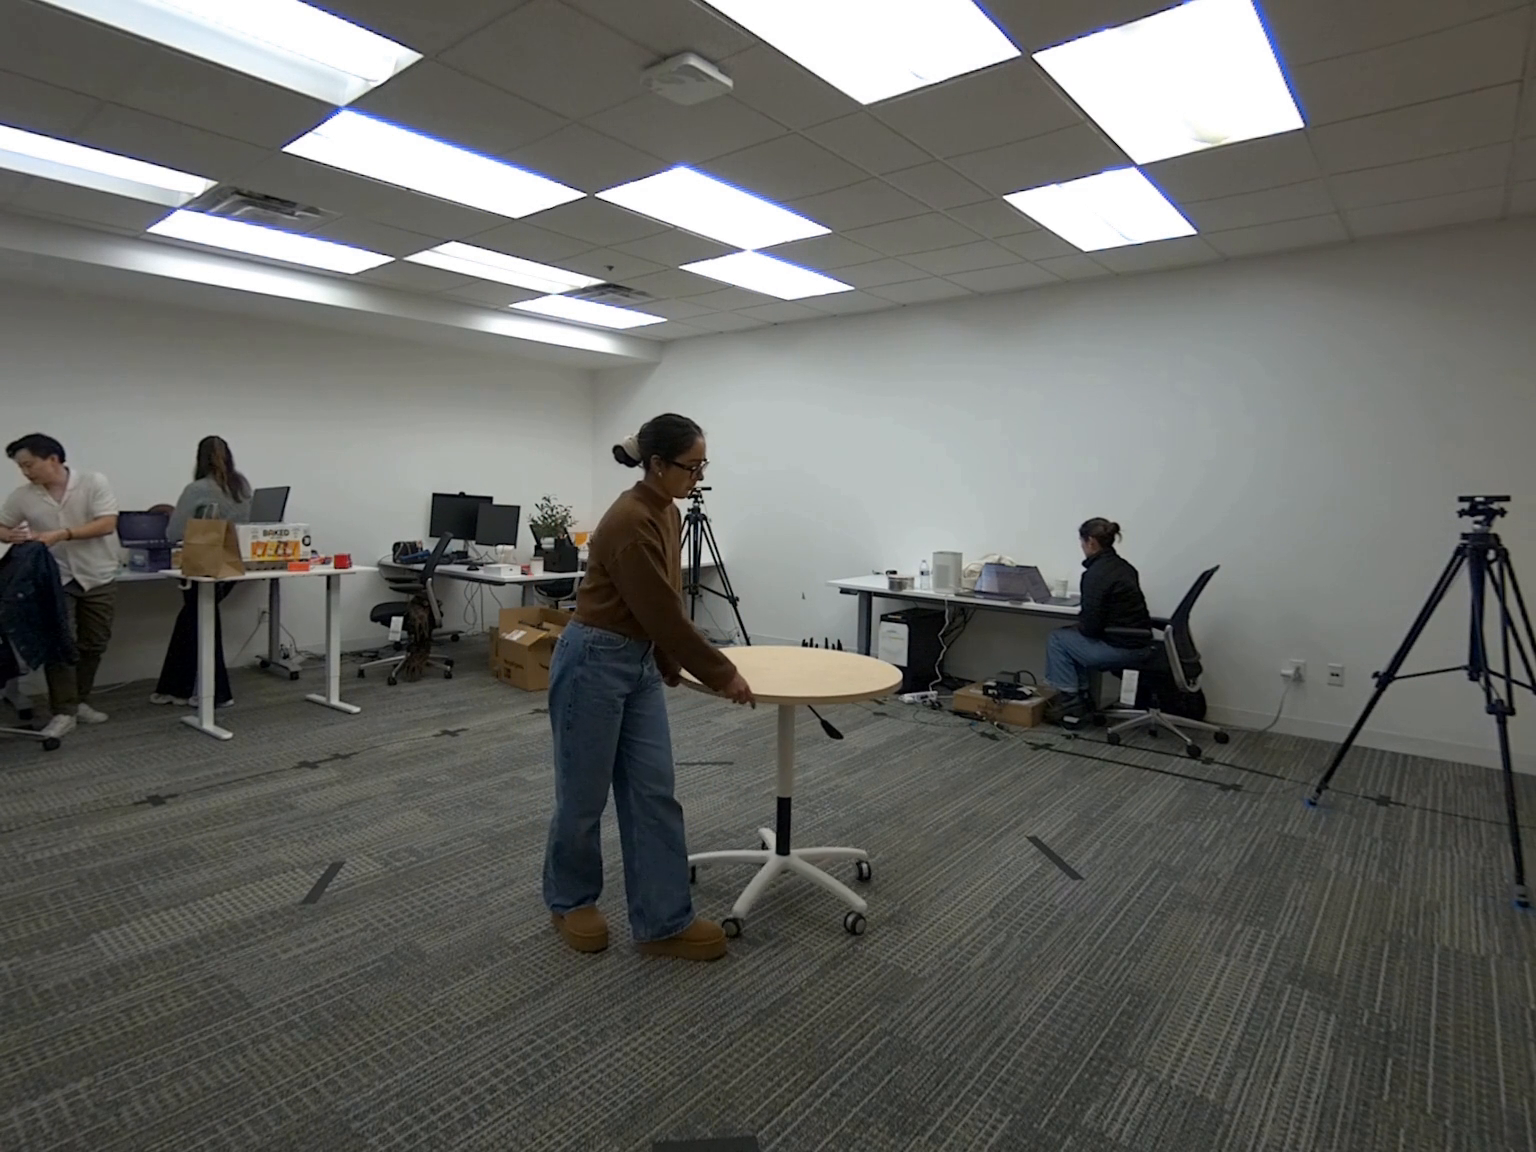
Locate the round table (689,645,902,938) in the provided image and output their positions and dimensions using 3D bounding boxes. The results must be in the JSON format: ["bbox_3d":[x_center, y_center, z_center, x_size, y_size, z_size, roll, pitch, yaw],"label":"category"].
[{"bbox_3d":[0.057,0.697,2.891,0.784,0.784,0.789,1,4,-2],"label":"round table"}]
